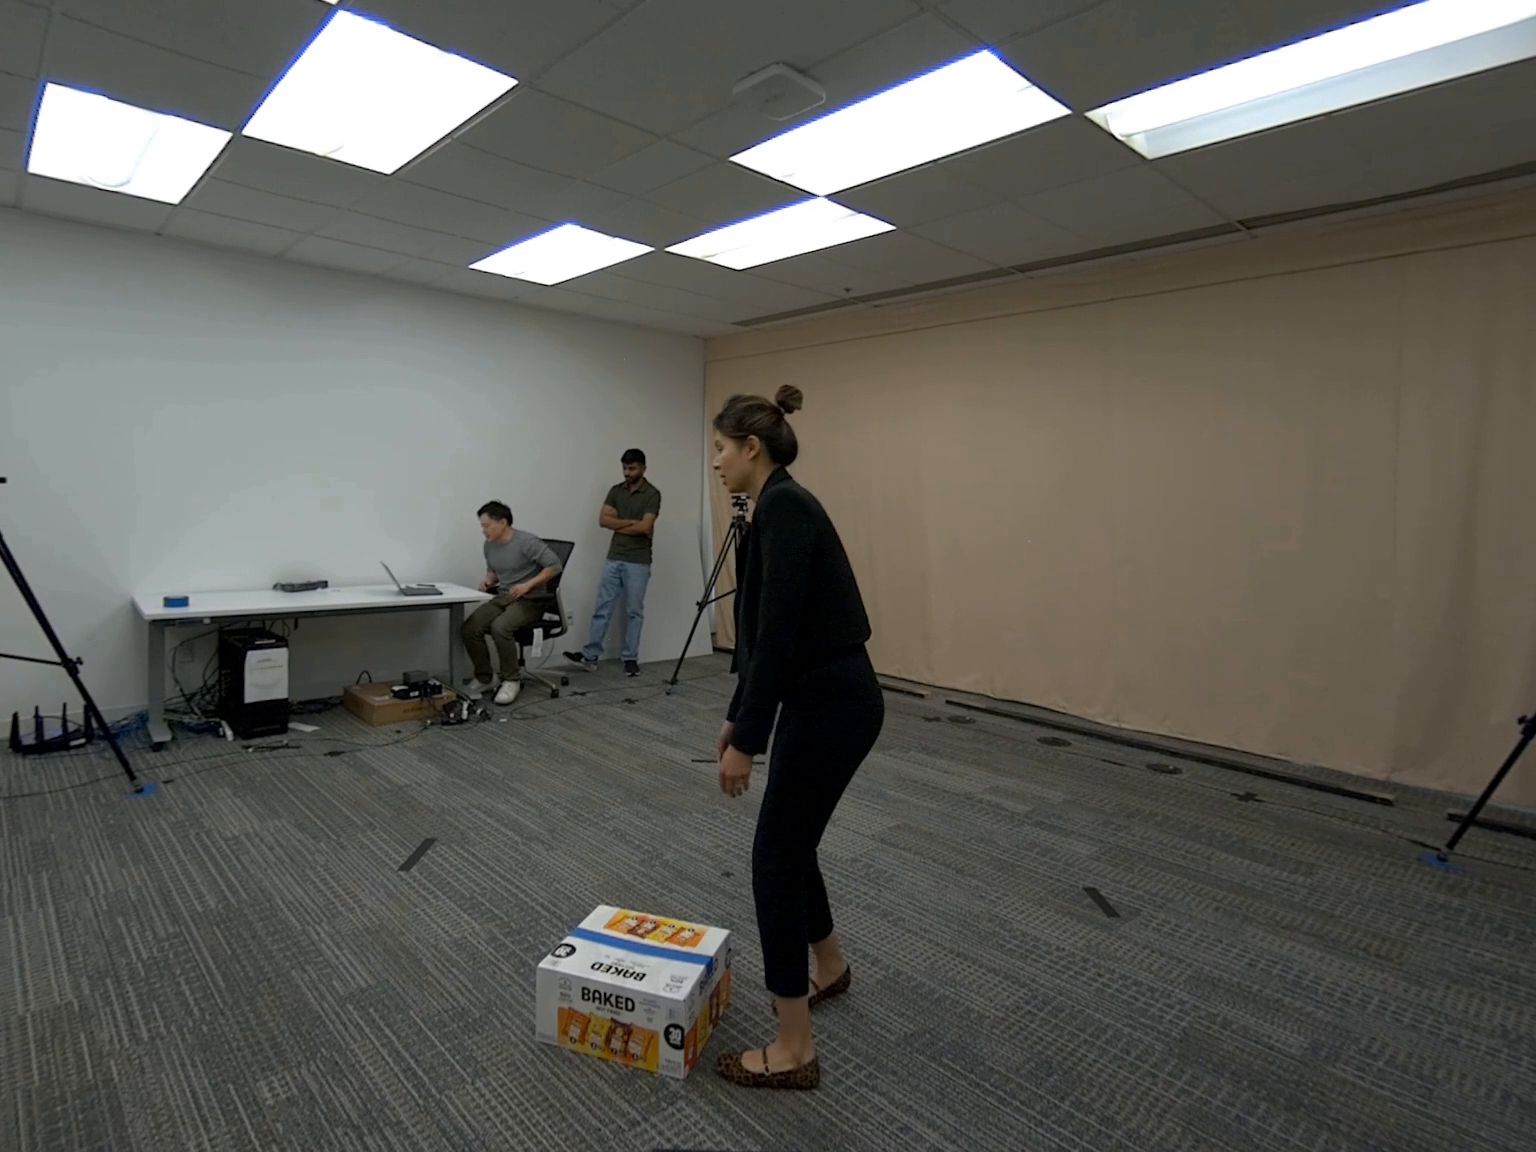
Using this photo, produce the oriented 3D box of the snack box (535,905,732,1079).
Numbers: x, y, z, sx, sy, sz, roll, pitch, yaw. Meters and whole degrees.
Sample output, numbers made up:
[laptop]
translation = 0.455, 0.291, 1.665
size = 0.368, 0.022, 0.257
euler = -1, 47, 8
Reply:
[snack box]
translation = -0.351, 1.082, 2.210
size = 0.411, 0.205, 0.336
euler = 3, 5, 18
